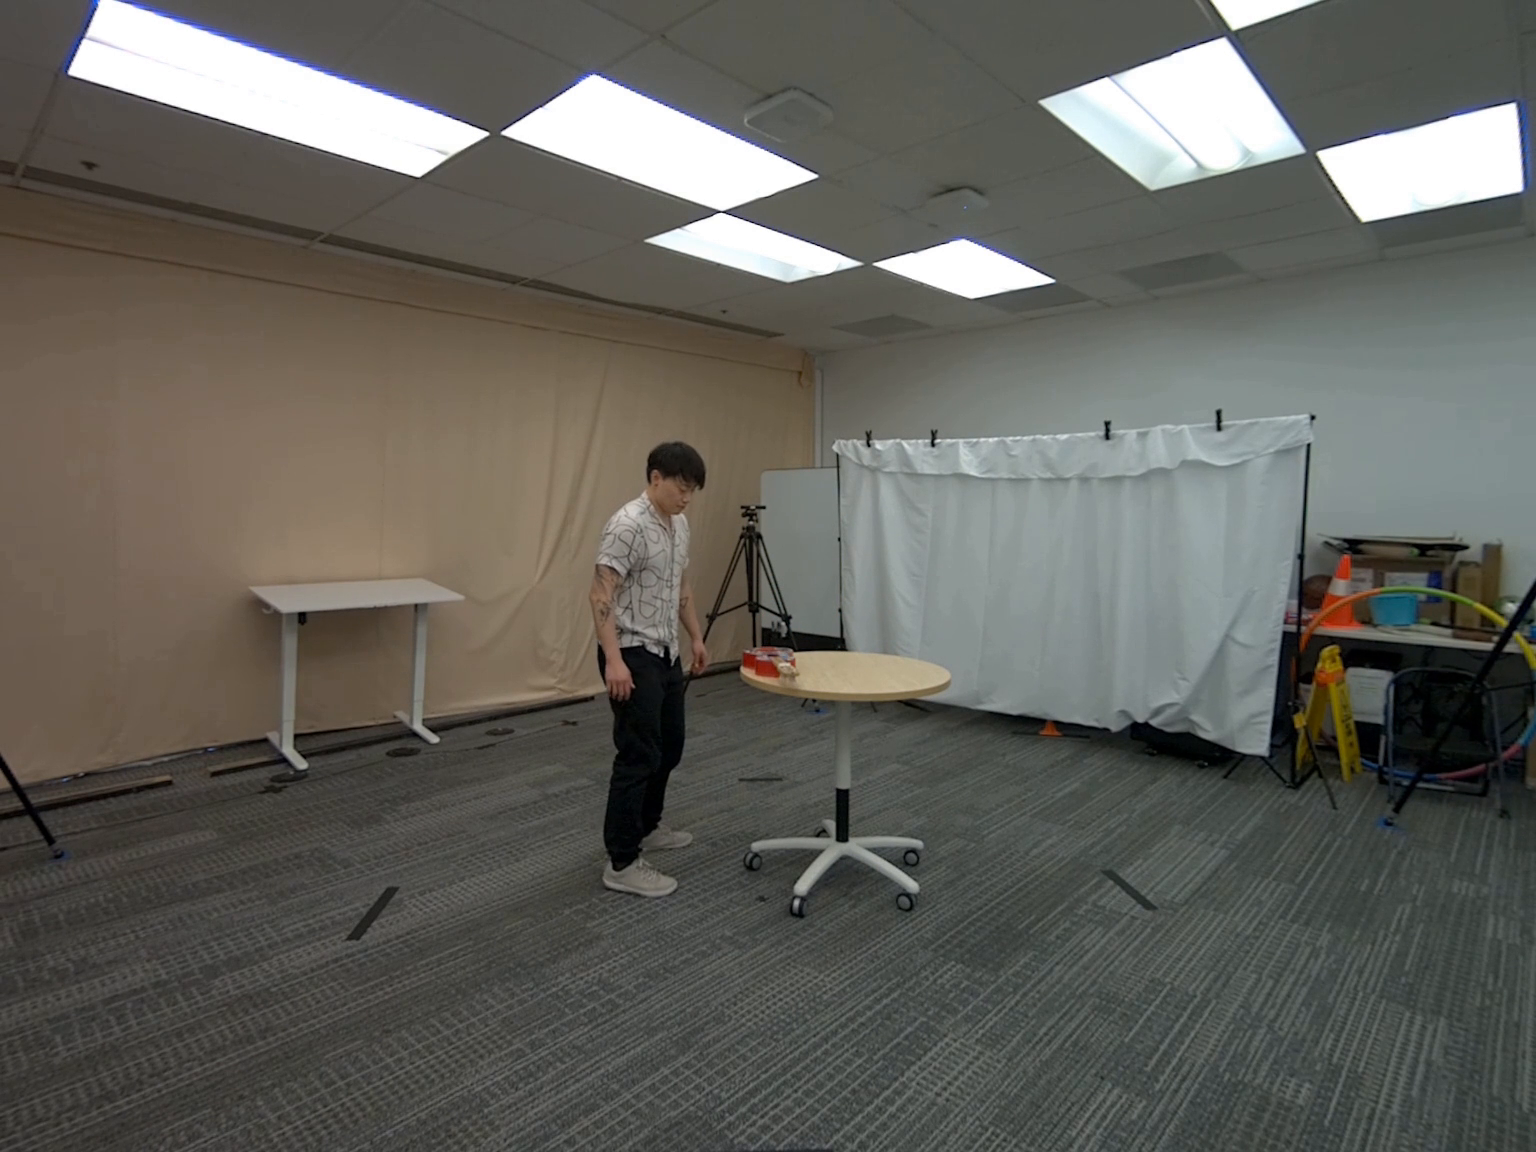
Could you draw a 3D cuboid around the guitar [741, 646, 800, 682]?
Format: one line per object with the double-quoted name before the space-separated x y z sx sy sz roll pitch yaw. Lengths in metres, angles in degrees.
"guitar" 0.006 0.326 3.003 0.193 0.070 0.499 1 5 -1
